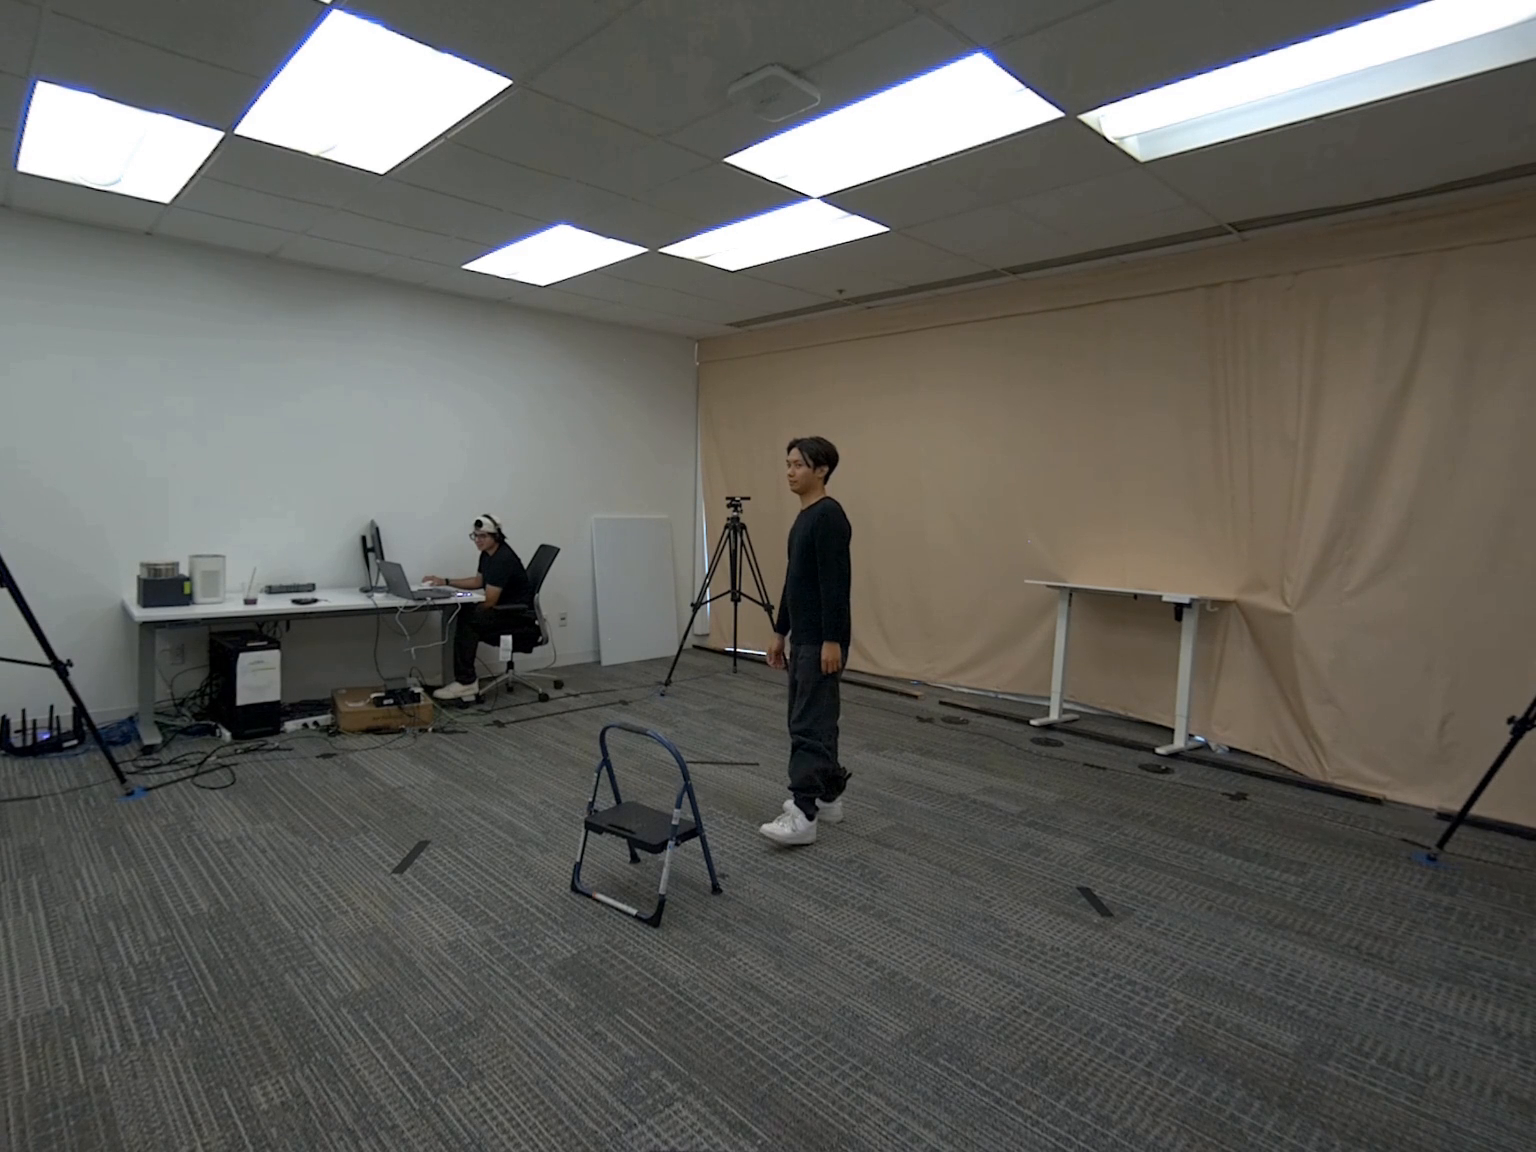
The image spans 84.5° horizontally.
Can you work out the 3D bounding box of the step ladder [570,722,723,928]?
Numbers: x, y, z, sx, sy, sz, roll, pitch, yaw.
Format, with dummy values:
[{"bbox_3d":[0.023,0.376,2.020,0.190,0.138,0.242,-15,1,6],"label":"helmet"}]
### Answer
[{"bbox_3d":[-0.434,0.811,2.951,0.441,0.604,0.342,4,4,36],"label":"step ladder"}]
